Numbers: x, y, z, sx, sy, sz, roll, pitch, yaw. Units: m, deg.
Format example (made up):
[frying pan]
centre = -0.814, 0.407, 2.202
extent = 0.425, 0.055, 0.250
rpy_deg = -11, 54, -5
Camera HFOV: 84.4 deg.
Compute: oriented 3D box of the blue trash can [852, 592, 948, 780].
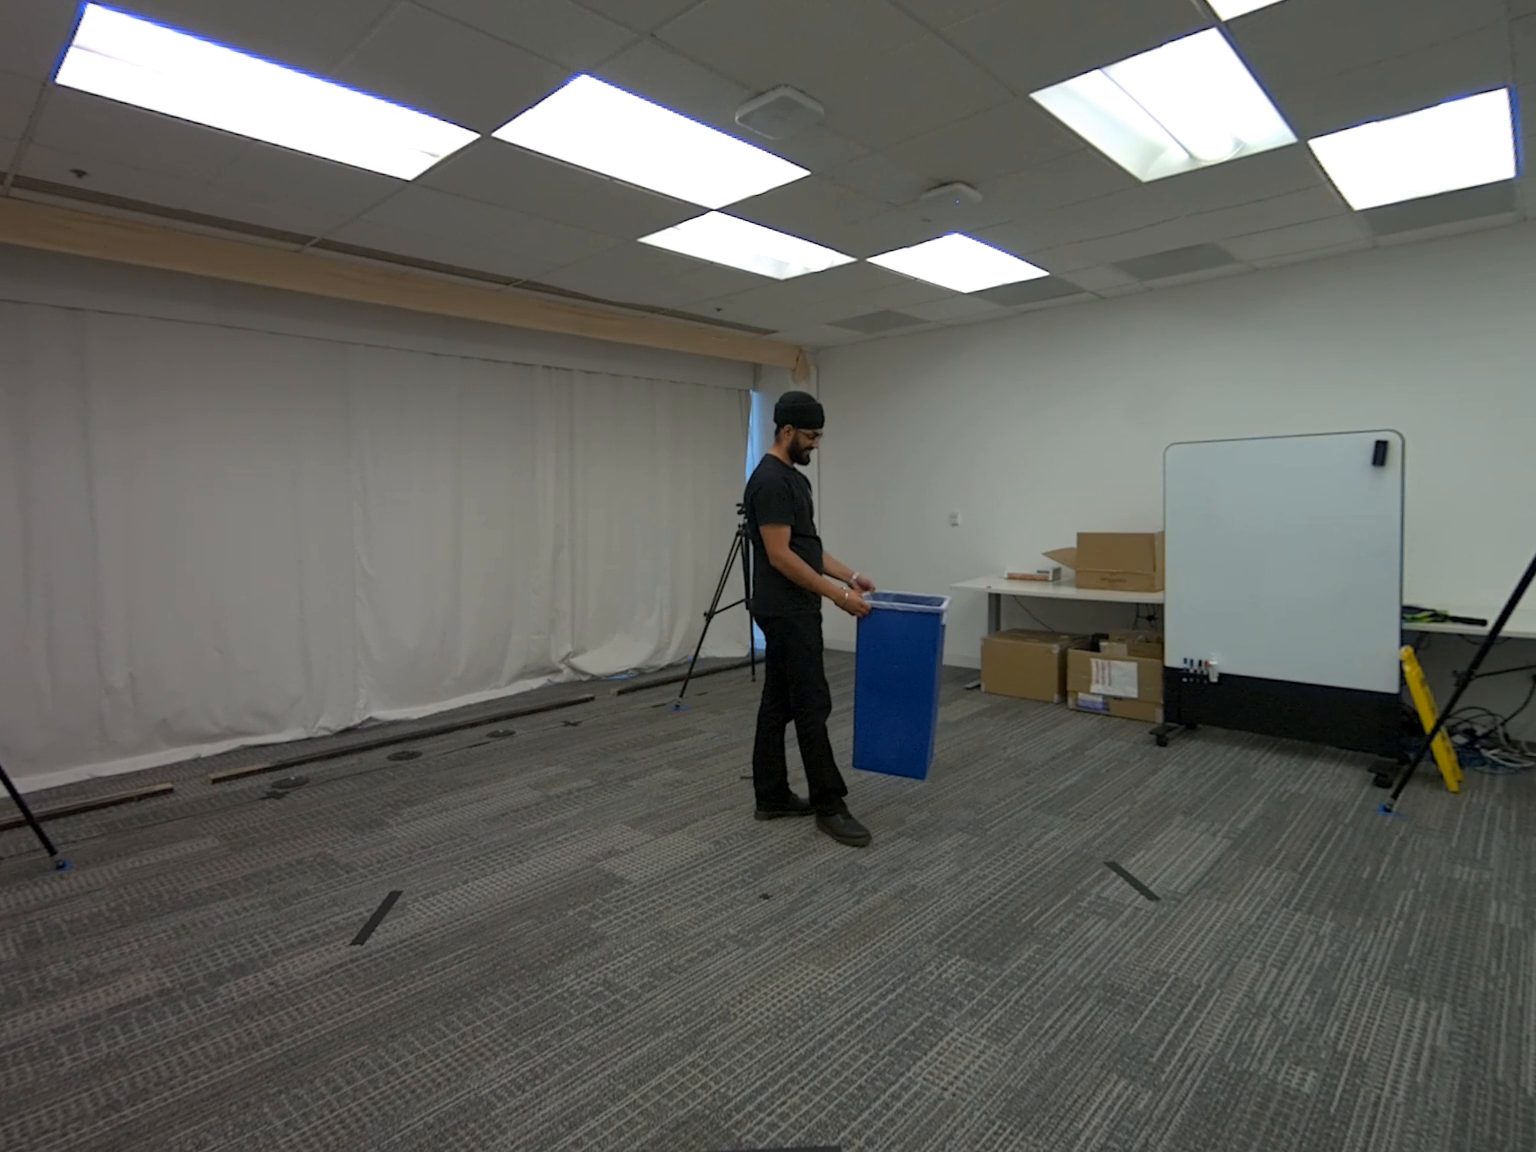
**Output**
[blue trash can]
centre = 0.552, 0.454, 3.564
extent = 0.382, 0.711, 0.372
rpy_deg = 5, 6, 18
